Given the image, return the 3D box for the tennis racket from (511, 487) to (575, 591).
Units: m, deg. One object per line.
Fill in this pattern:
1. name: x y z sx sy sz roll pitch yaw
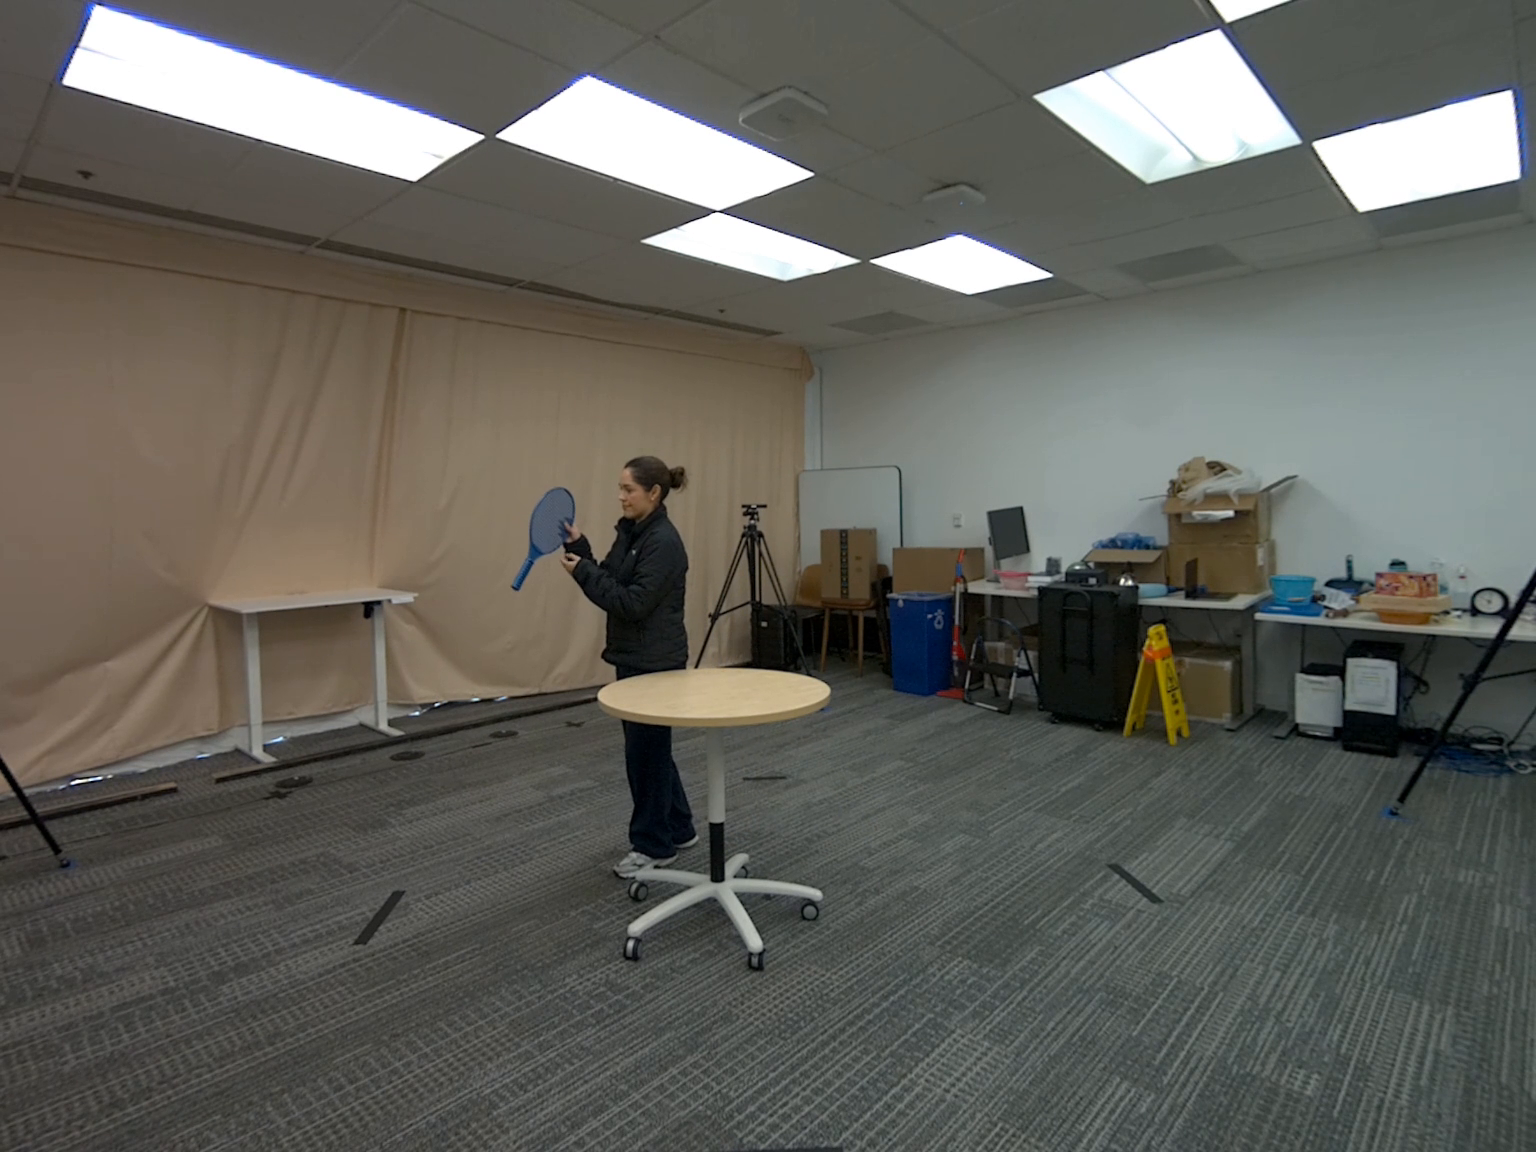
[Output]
1. tennis racket: -0.806 -0.133 3.100 0.033 0.435 0.206 2 -31 30
